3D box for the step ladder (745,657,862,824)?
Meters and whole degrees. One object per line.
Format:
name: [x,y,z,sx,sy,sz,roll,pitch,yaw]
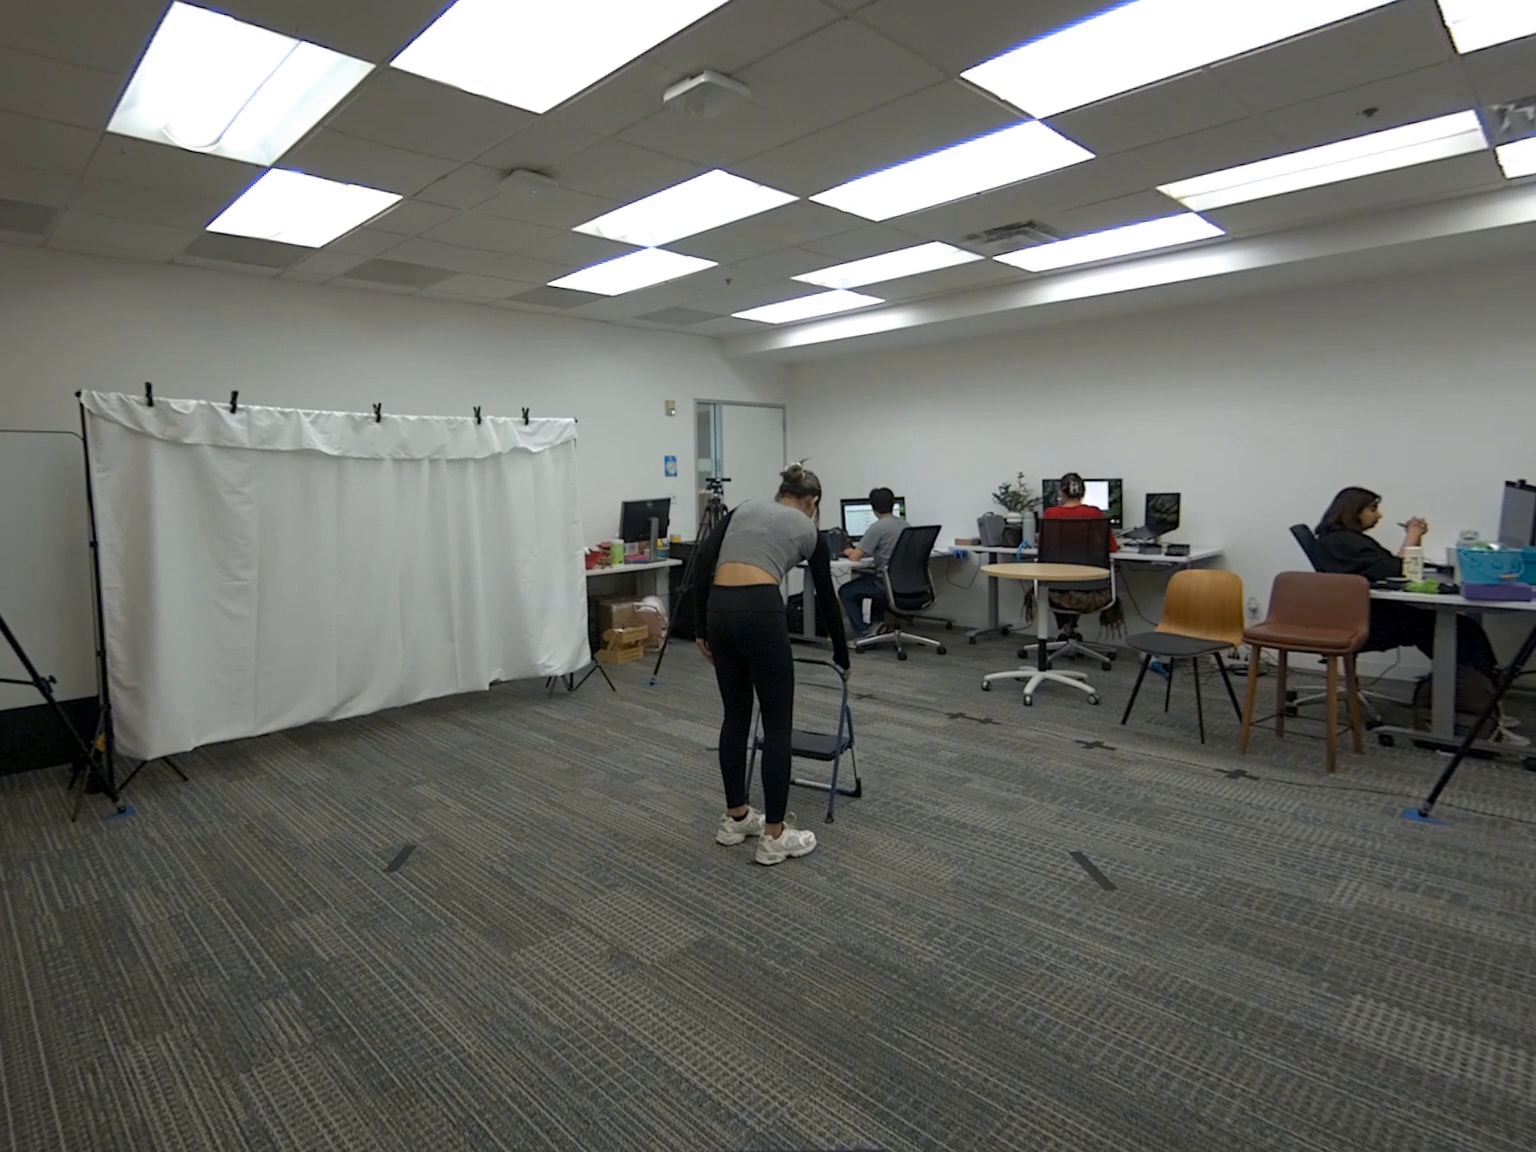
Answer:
step ladder: [0.151,0.670,3.685,0.442,0.604,0.341,2,5,31]
